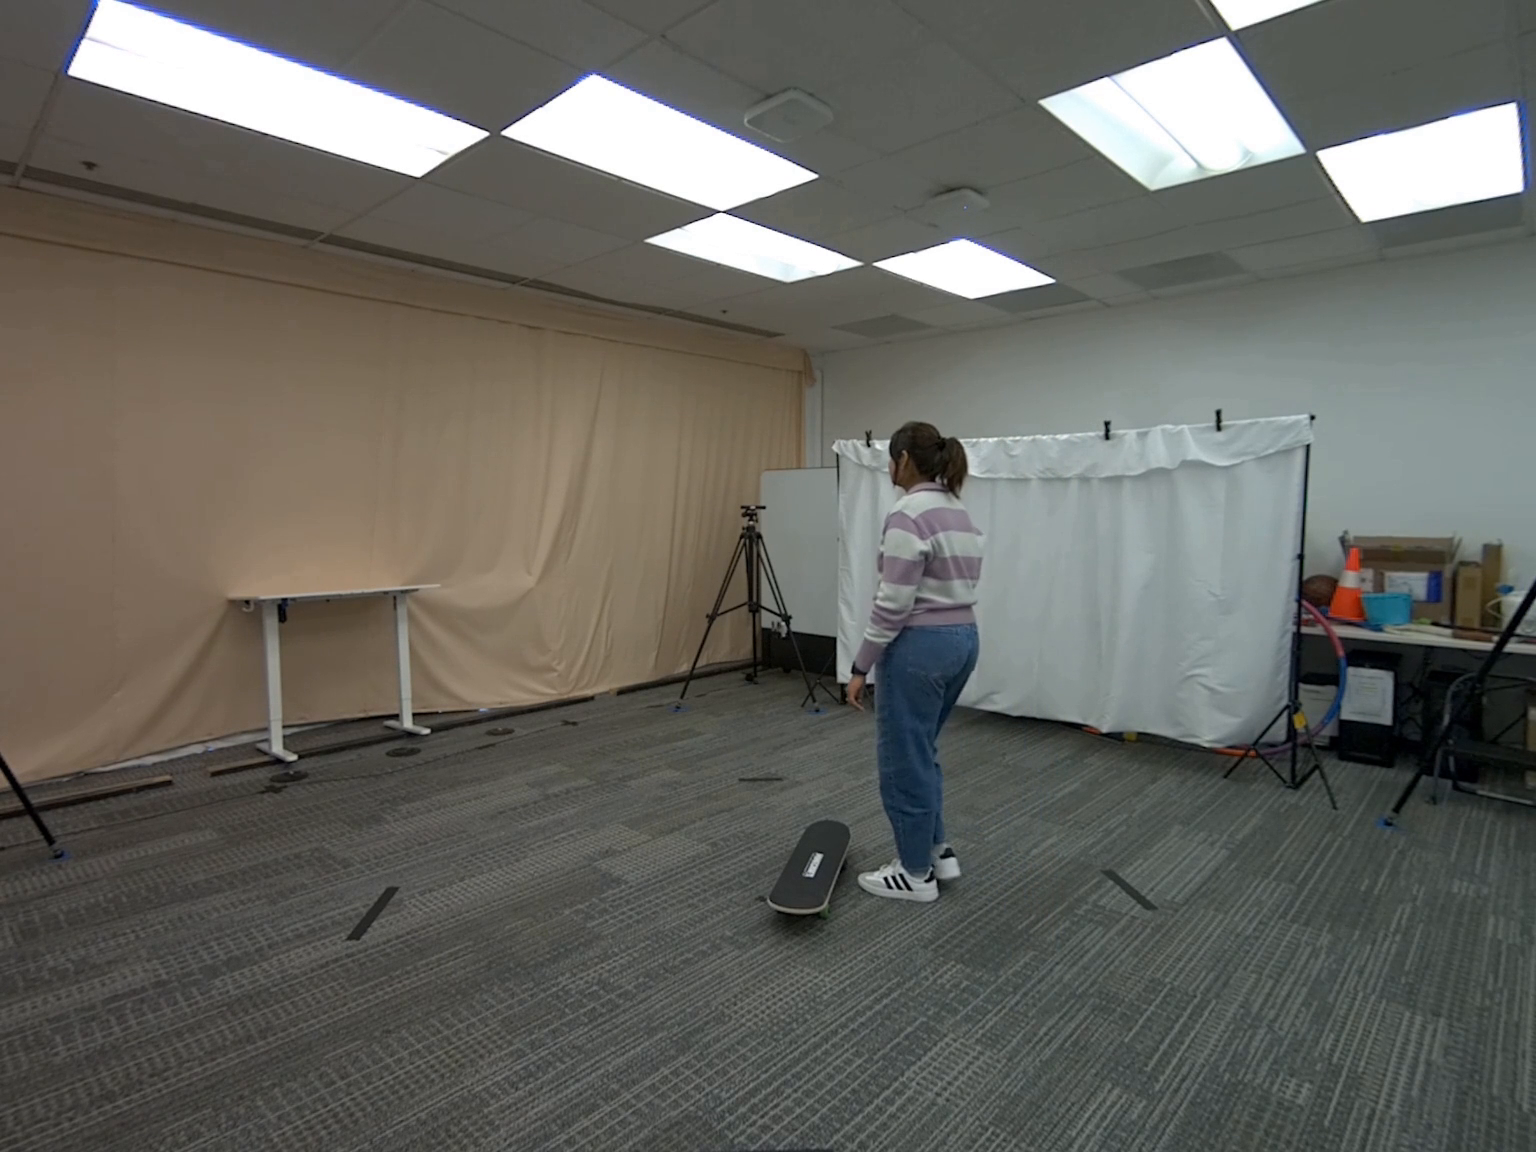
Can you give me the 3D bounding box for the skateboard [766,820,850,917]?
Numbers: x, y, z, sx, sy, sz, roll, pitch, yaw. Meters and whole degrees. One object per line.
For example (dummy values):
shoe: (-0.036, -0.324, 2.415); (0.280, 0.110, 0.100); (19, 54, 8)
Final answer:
skateboard: (0.169, 1.079, 3.054); (0.197, 0.110, 0.774); (1, 5, 14)
